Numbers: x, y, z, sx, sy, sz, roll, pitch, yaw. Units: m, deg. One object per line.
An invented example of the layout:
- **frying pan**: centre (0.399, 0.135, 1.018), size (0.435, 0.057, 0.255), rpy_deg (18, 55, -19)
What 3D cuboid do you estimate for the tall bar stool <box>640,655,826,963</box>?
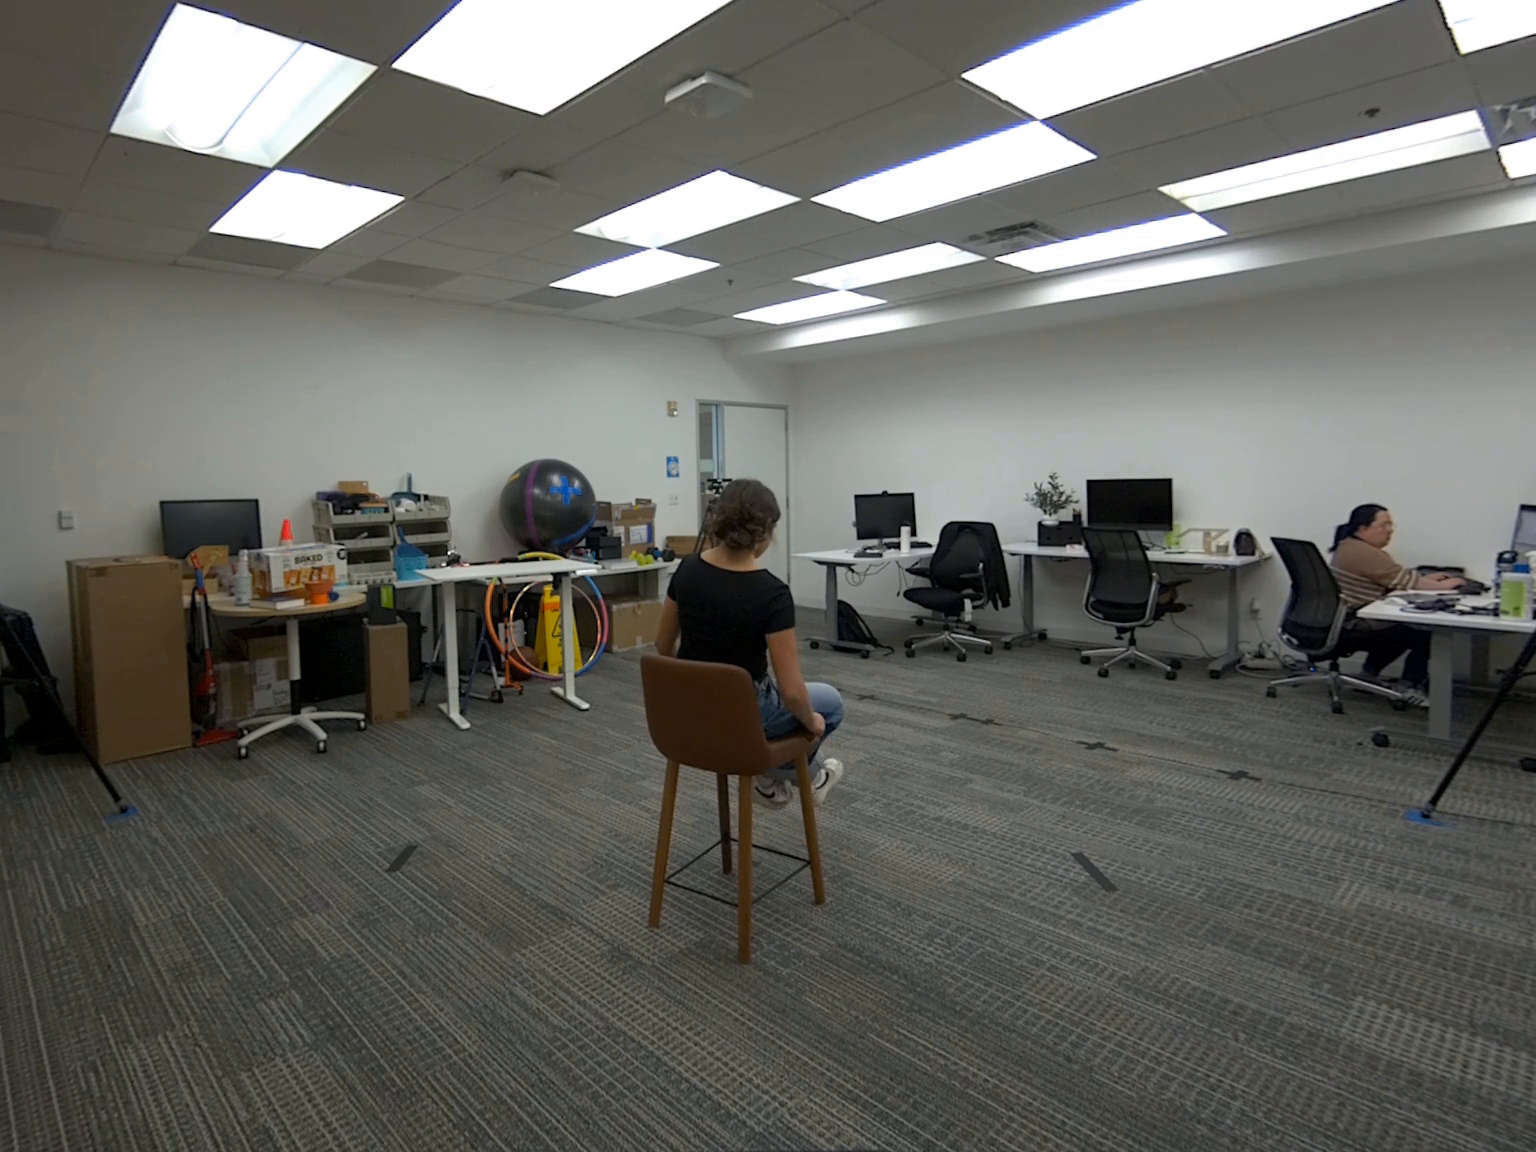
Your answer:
- **tall bar stool**: centre (-0.115, 0.658, 2.718), size (0.469, 0.885, 0.457), rpy_deg (2, 7, 36)
